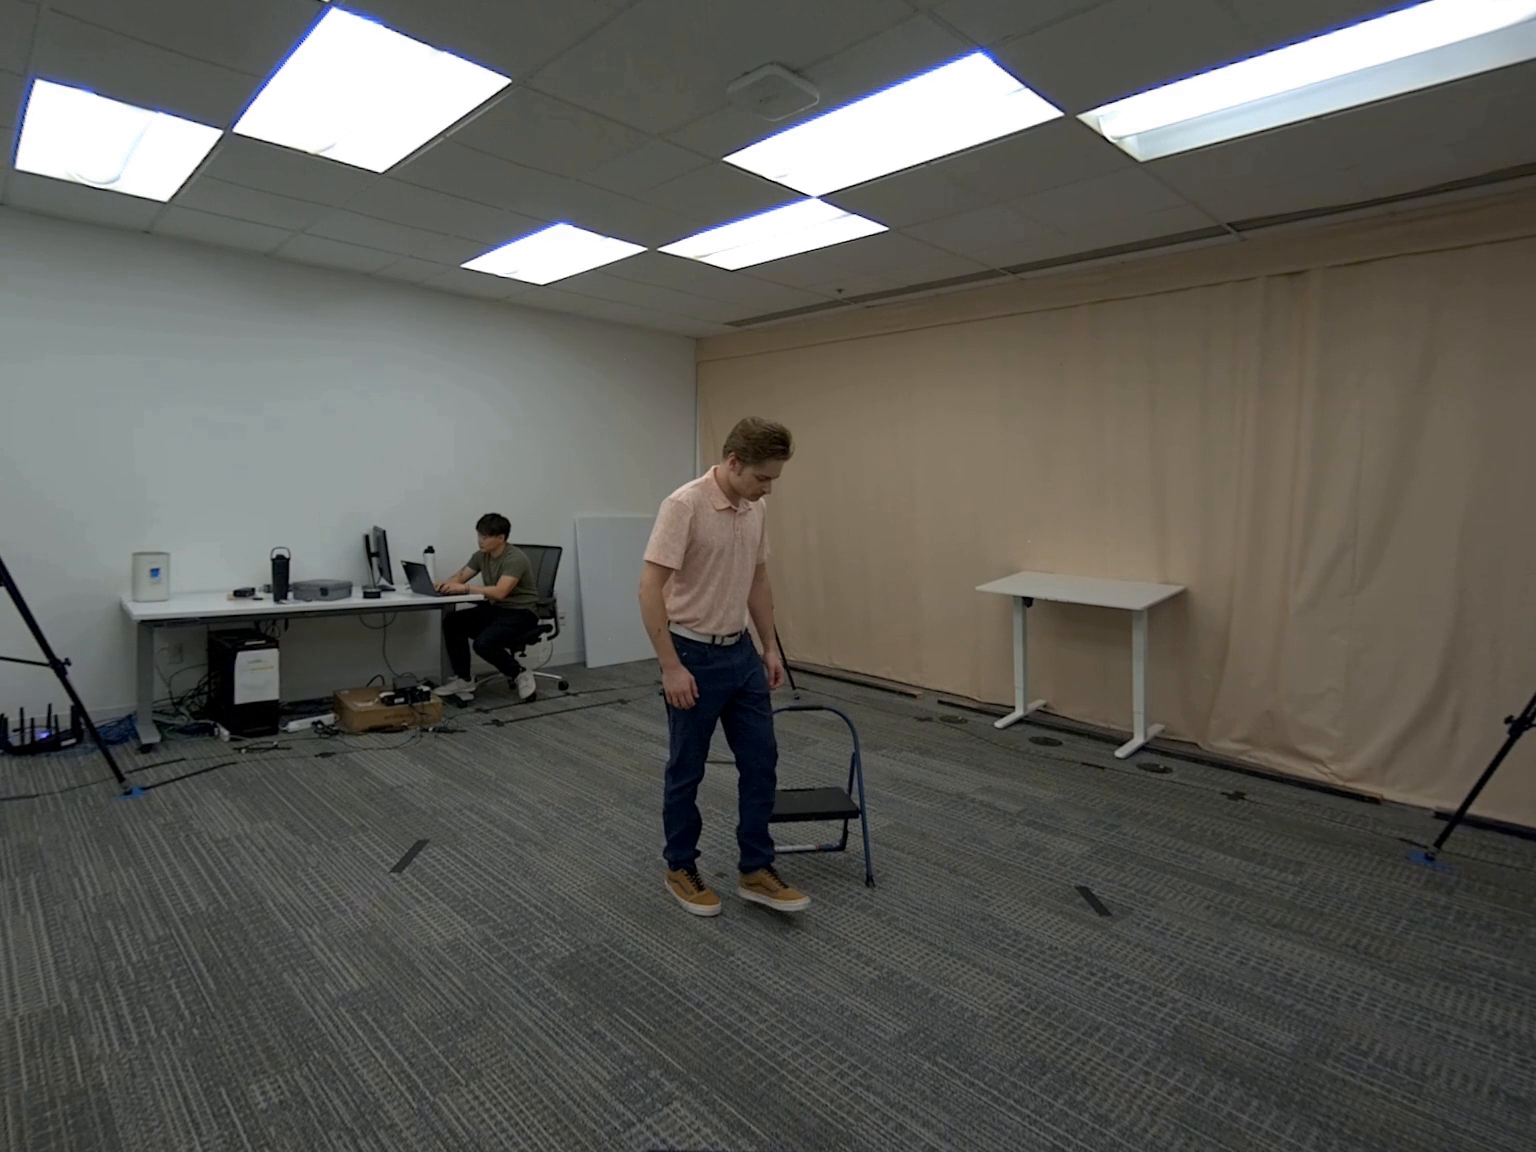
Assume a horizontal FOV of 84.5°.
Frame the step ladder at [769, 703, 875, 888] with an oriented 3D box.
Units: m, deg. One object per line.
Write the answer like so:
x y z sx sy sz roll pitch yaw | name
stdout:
0.147 0.804 3.152 0.426 0.605 0.353 1 3 -12 | step ladder
